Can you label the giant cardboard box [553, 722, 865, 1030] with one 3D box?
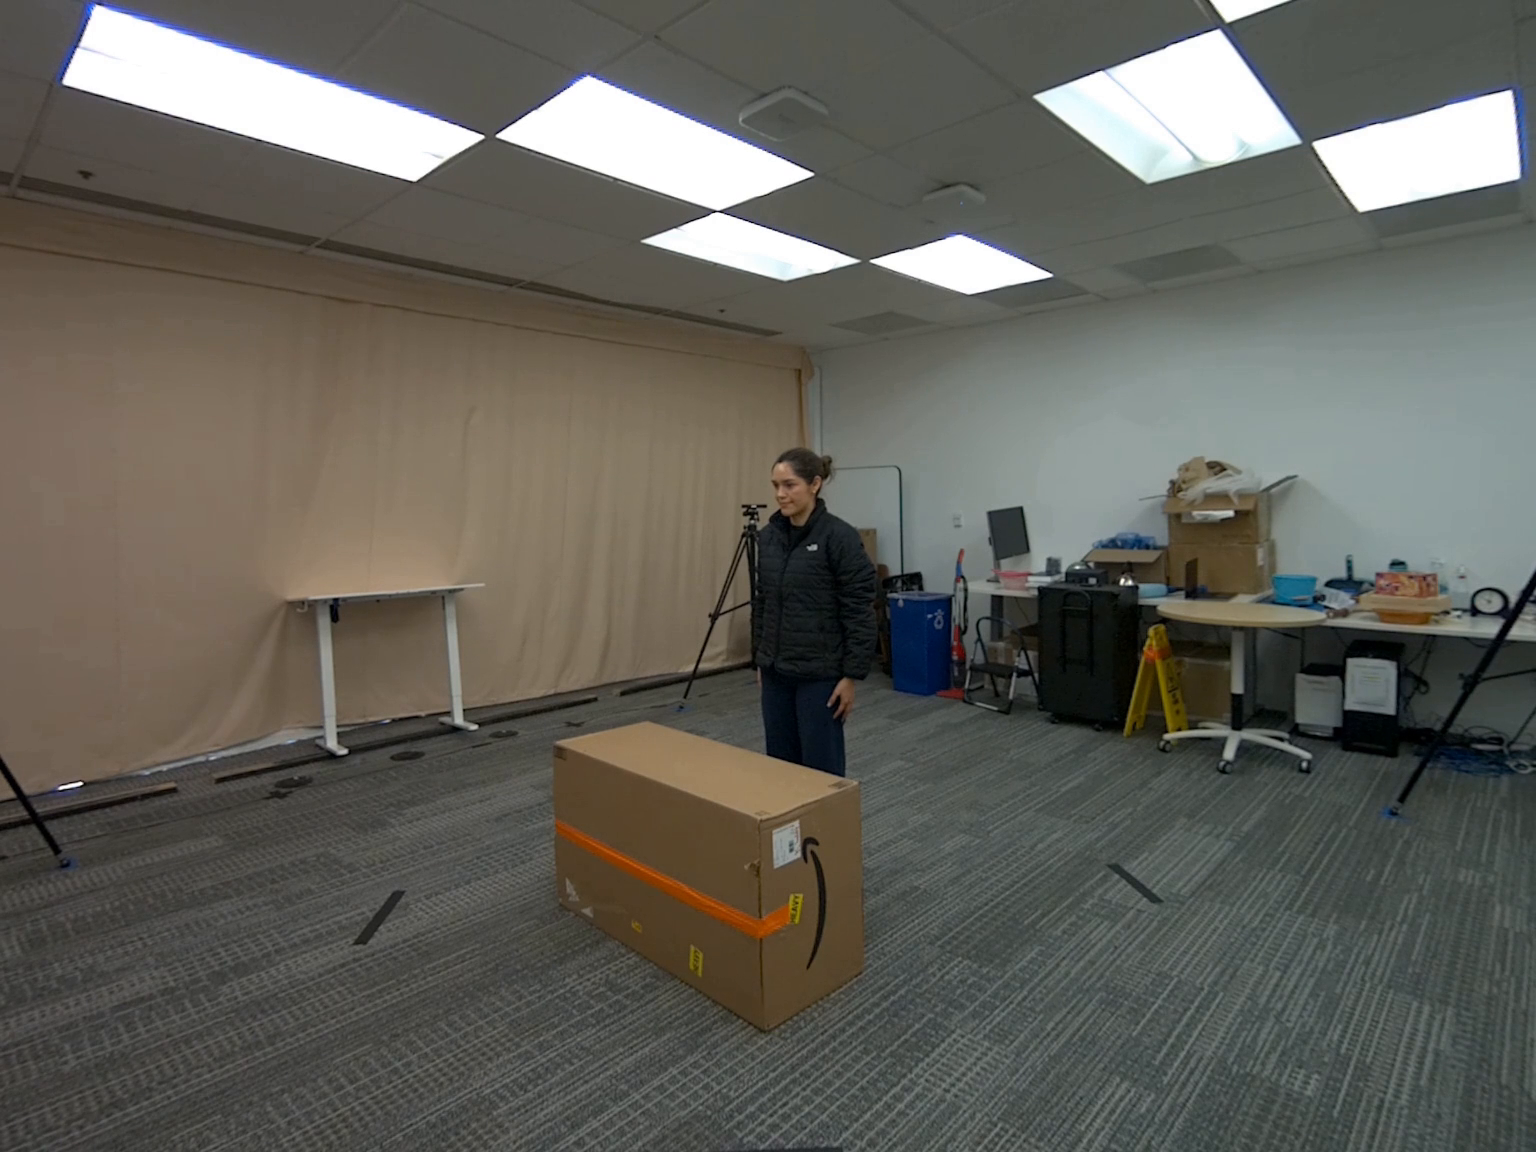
[{"bbox_3d":[-0.222,0.883,2.713,0.433,0.583,1.061,-3,4,-43],"label":"giant cardboard box"}]
